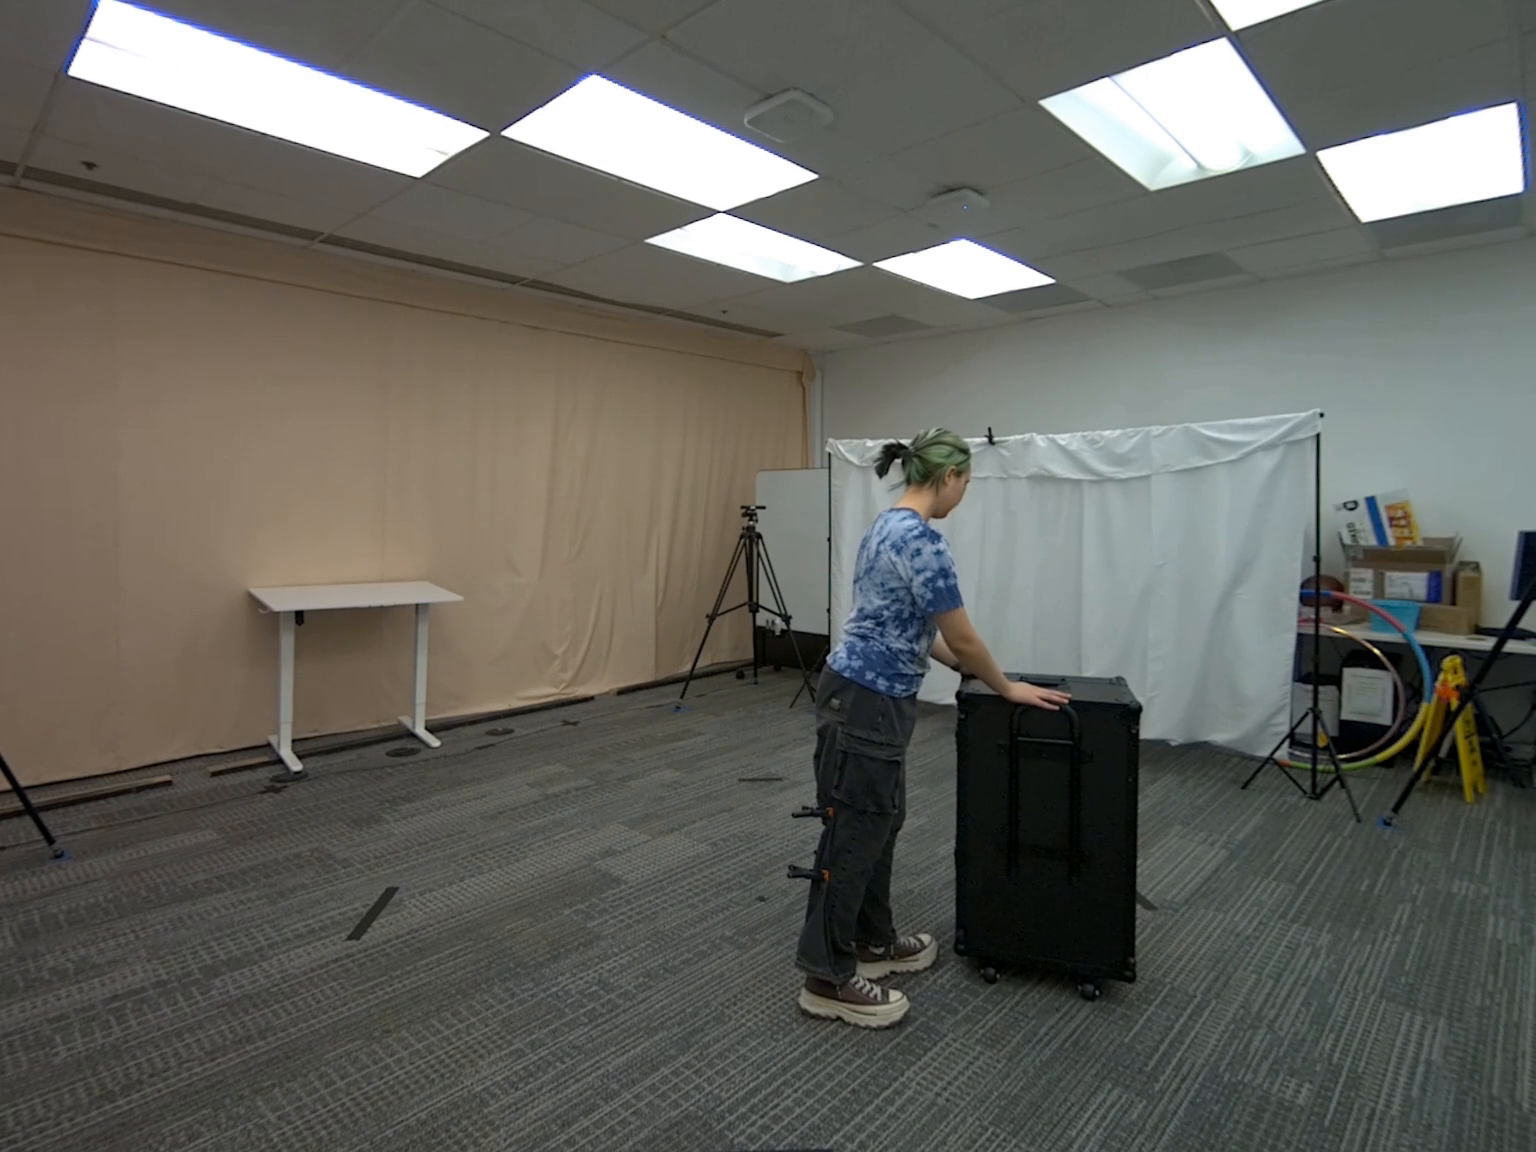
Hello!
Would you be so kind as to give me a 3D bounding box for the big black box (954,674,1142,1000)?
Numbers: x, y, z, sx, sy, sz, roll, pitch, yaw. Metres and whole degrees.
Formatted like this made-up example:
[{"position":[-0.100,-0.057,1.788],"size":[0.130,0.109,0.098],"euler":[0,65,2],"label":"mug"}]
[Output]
[{"position":[0.837,0.754,2.533],"size":[0.532,0.860,0.389],"euler":[1,3,18],"label":"big black box"}]
